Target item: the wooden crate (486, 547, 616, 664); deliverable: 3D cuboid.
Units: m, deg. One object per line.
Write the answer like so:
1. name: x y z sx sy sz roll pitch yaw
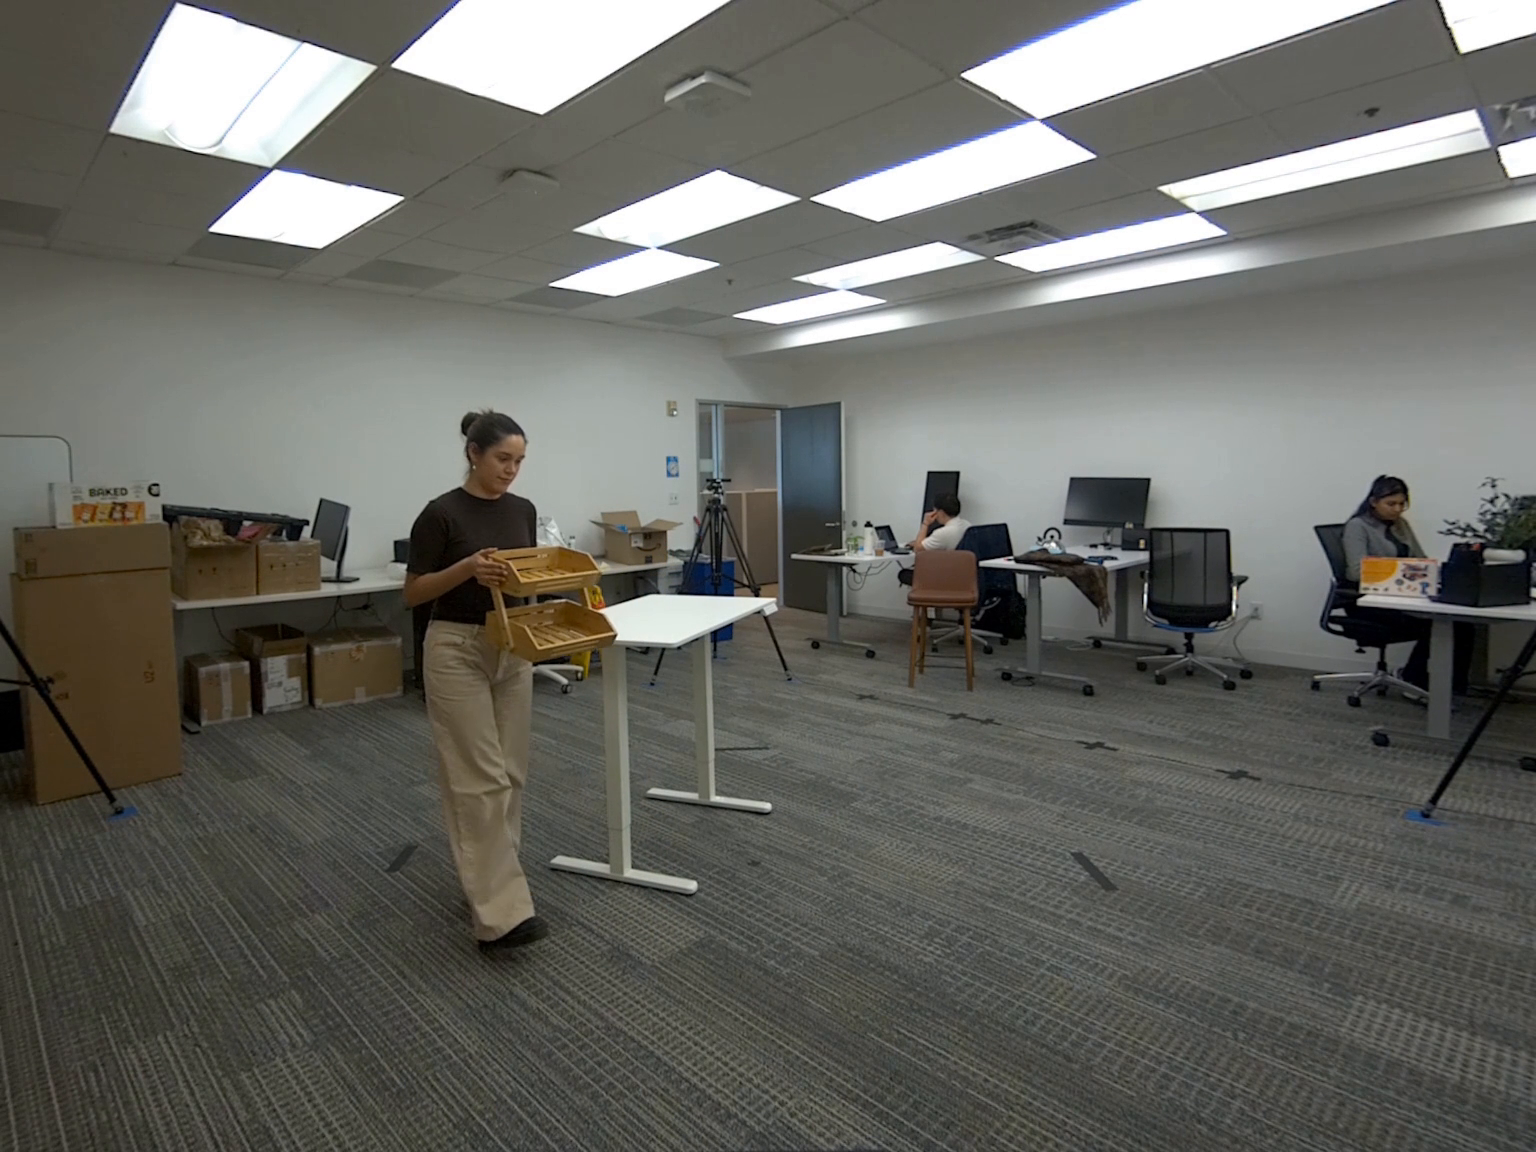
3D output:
1. wooden crate: -0.646 0.069 2.551 0.312 0.271 0.316 13 12 36
